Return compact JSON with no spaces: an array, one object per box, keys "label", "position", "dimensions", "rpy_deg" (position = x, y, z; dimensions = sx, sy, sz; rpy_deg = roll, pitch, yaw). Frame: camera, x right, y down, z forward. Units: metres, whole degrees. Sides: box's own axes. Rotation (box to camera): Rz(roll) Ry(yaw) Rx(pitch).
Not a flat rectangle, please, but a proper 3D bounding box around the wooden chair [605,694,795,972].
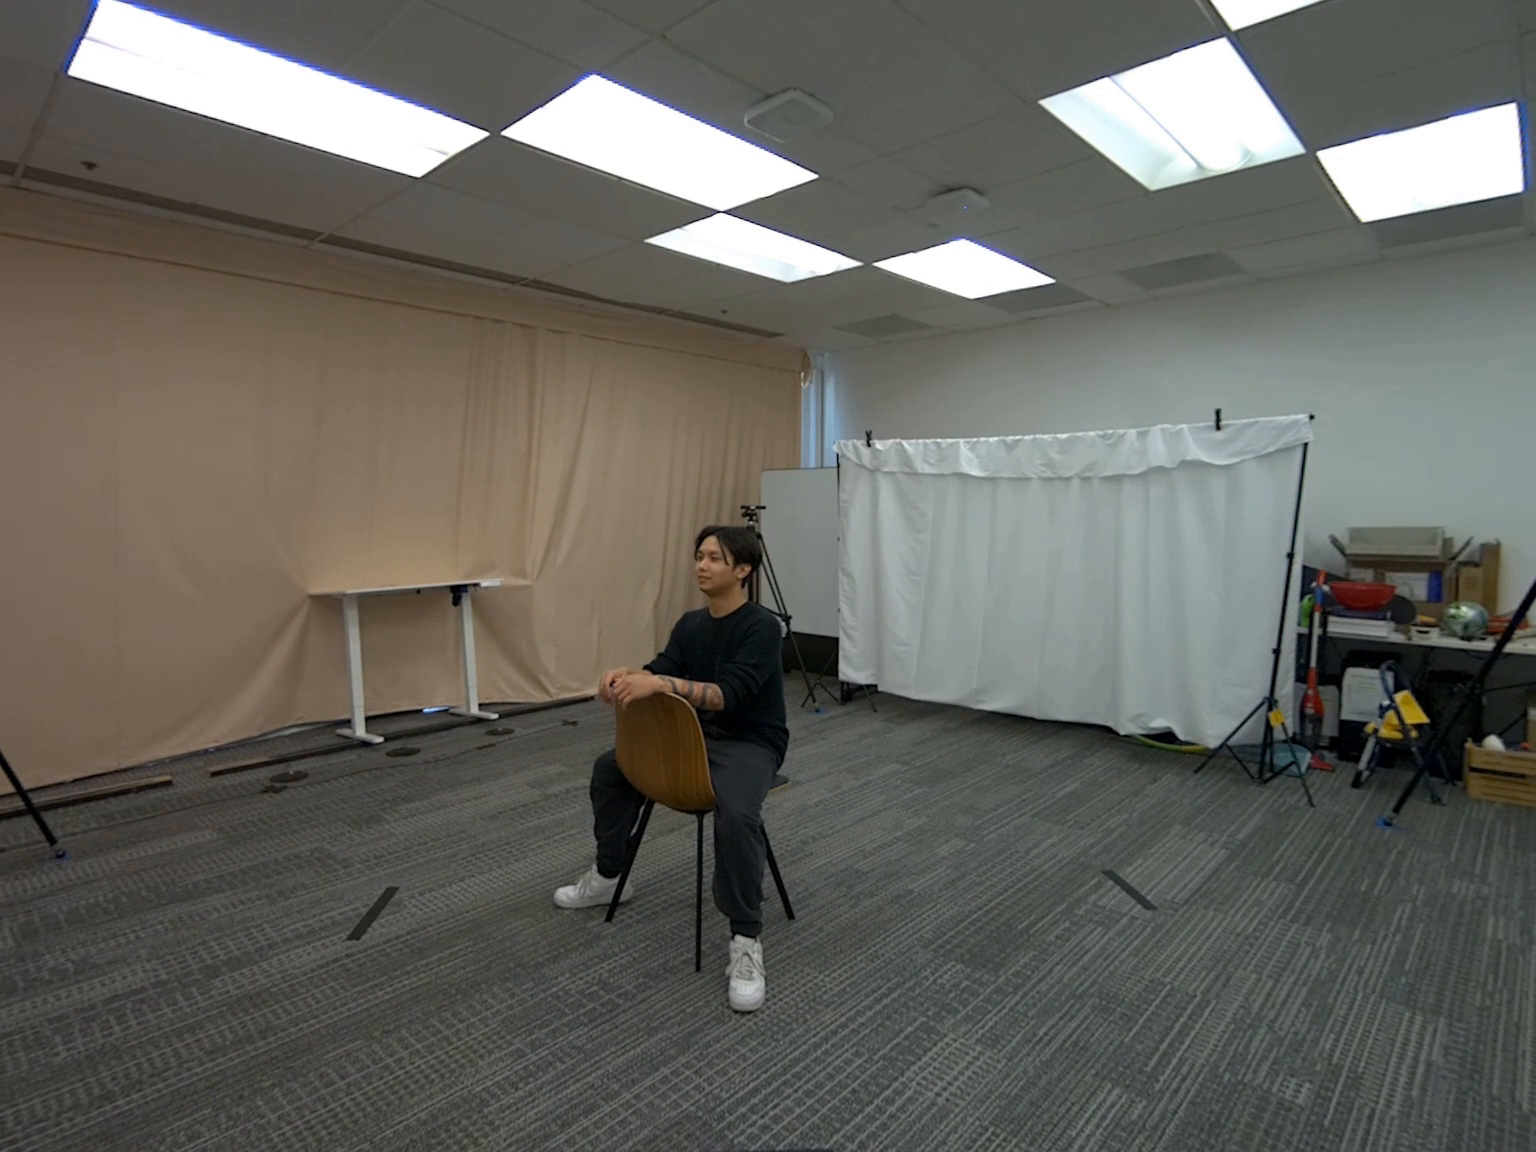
[{"label":"wooden chair","position":[-0.220,0.724,2.817],"dimensions":[0.494,0.874,0.508],"rpy_deg":[3,8,44]}]
